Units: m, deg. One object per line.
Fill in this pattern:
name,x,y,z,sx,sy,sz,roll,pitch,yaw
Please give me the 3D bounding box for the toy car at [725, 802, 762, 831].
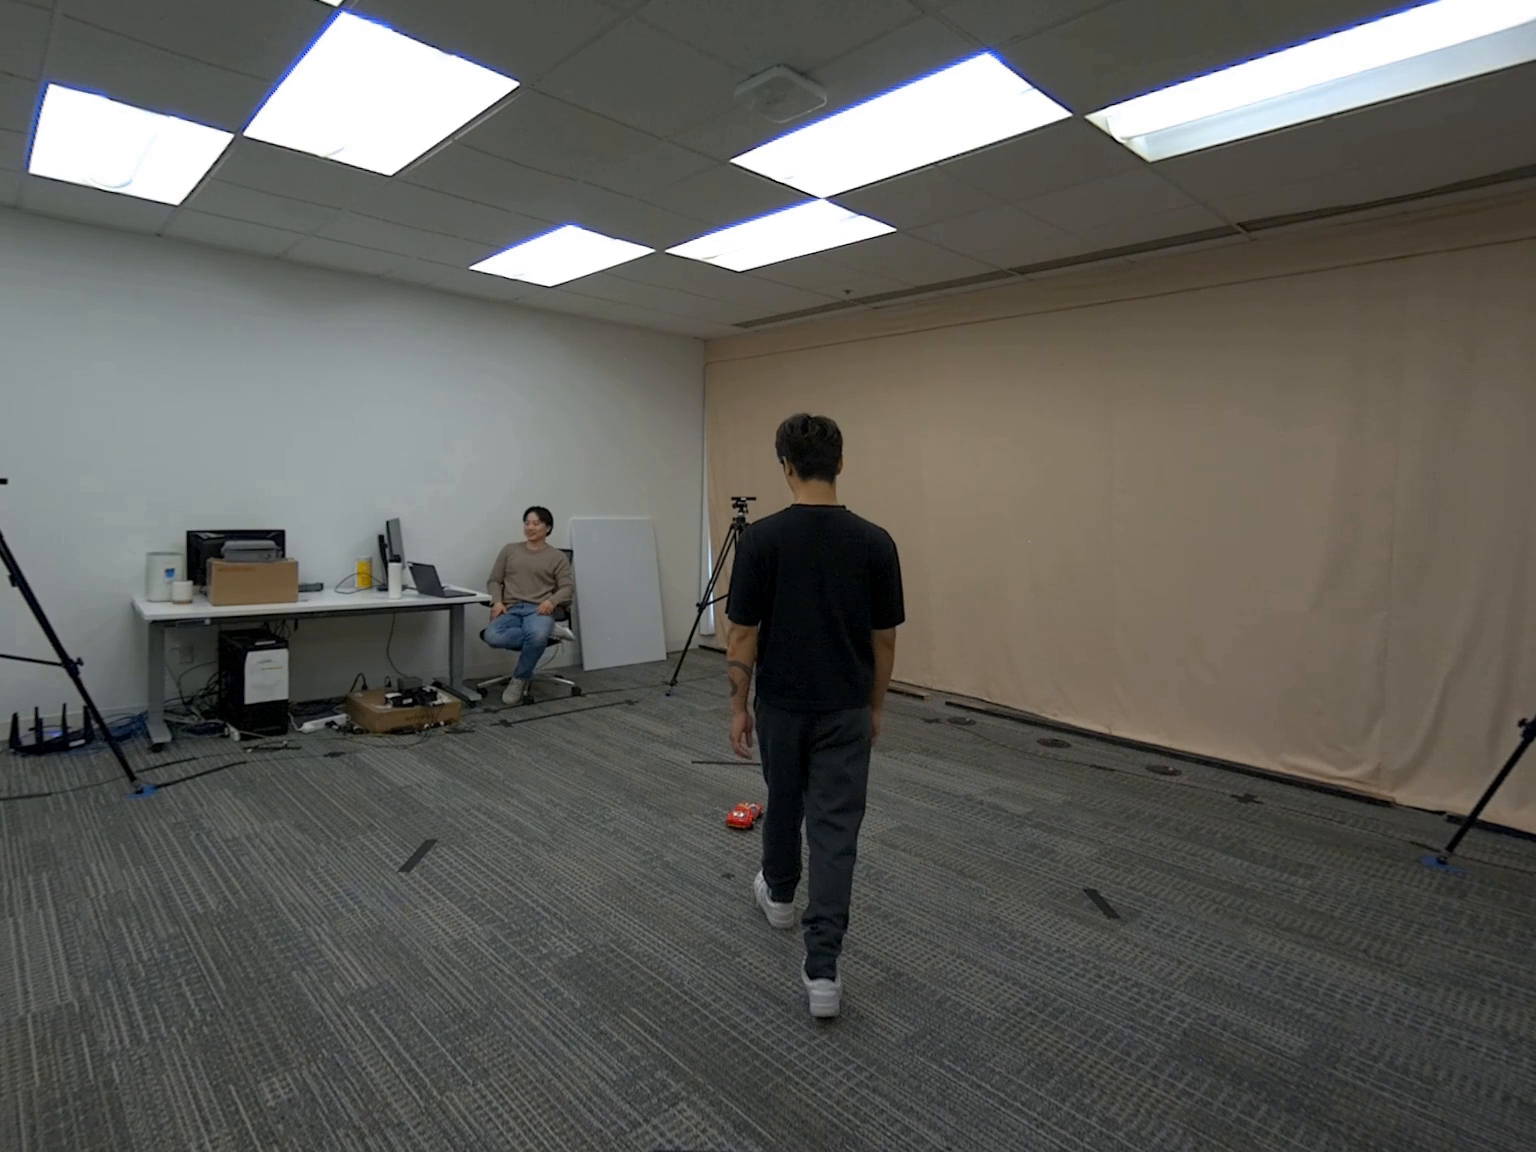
toy car,-0.113,1.032,3.621,0.132,0.083,0.250,3,-5,16
